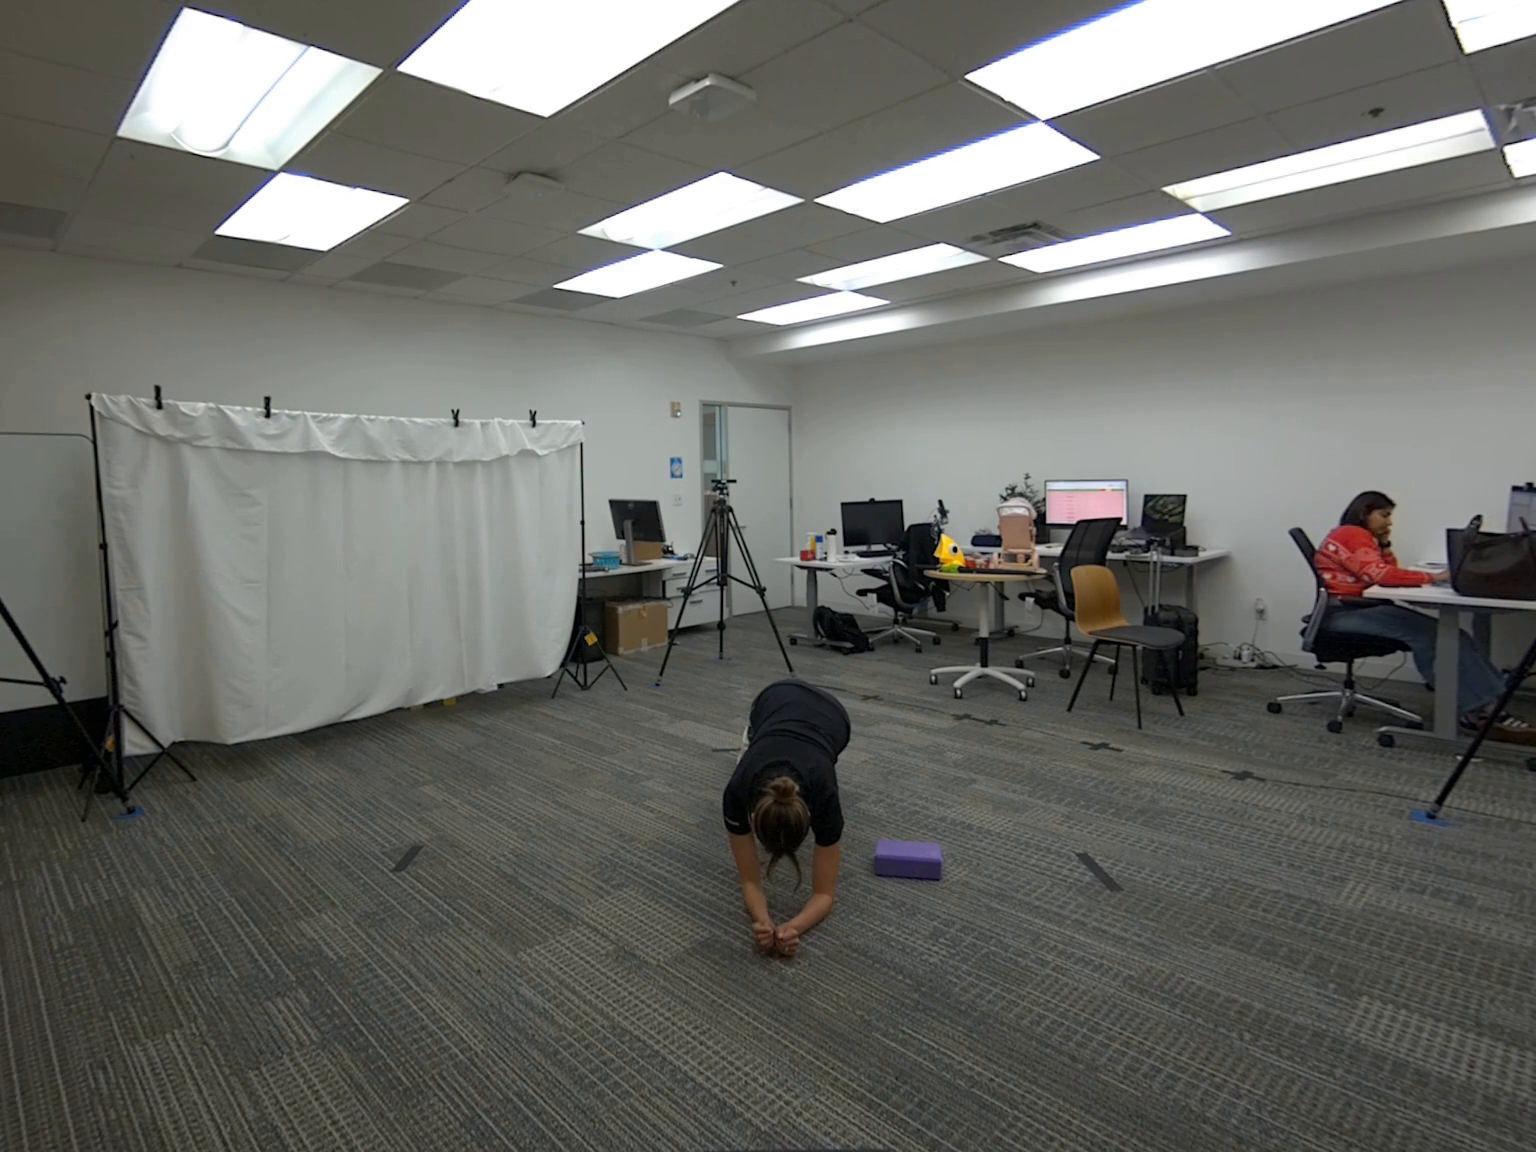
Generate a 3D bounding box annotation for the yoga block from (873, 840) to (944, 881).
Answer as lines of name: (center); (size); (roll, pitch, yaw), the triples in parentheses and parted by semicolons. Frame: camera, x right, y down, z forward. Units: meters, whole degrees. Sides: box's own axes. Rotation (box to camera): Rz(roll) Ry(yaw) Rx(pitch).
yoga block: (0.501, 1.005, 3.032); (0.232, 0.076, 0.147); (1, 5, 13)
